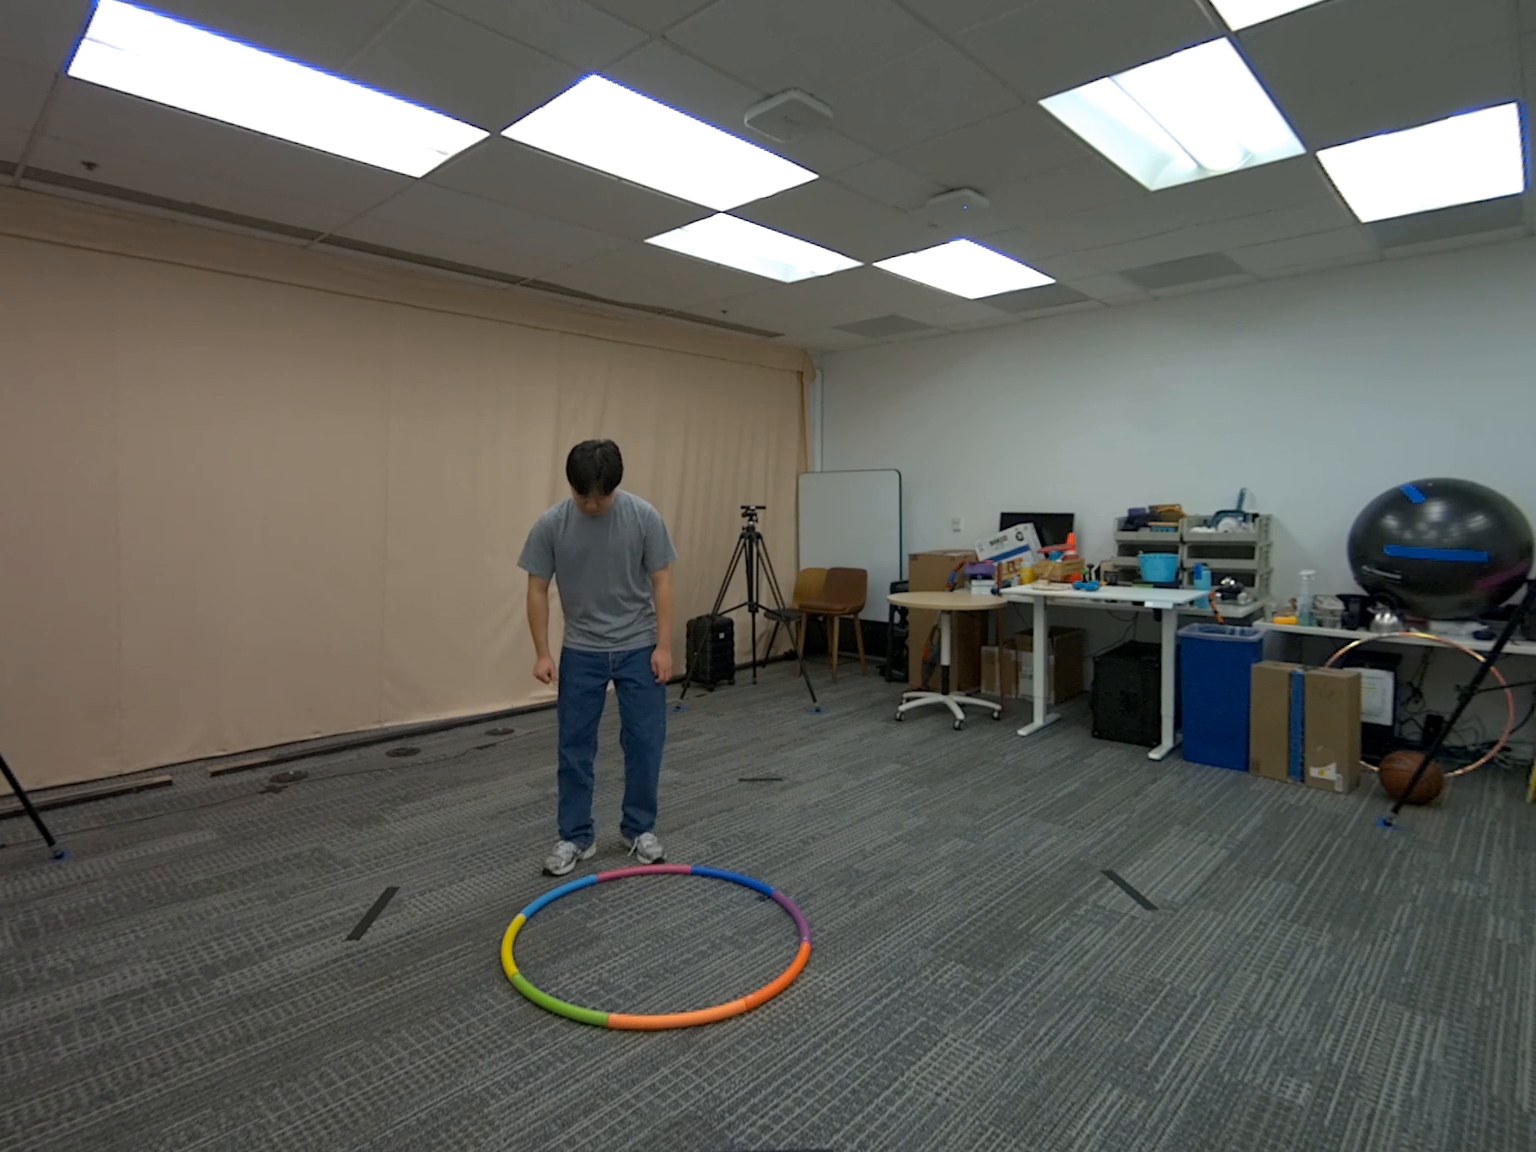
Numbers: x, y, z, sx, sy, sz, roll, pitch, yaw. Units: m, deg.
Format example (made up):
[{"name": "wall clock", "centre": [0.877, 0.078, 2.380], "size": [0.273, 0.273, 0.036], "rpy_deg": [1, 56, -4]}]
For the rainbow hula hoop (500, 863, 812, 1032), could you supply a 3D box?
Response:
[{"name": "rainbow hula hoop", "centre": [-0.351, 1.141, 2.720], "size": [0.978, 0.035, 0.982], "rpy_deg": [-1, 5, -2]}]
